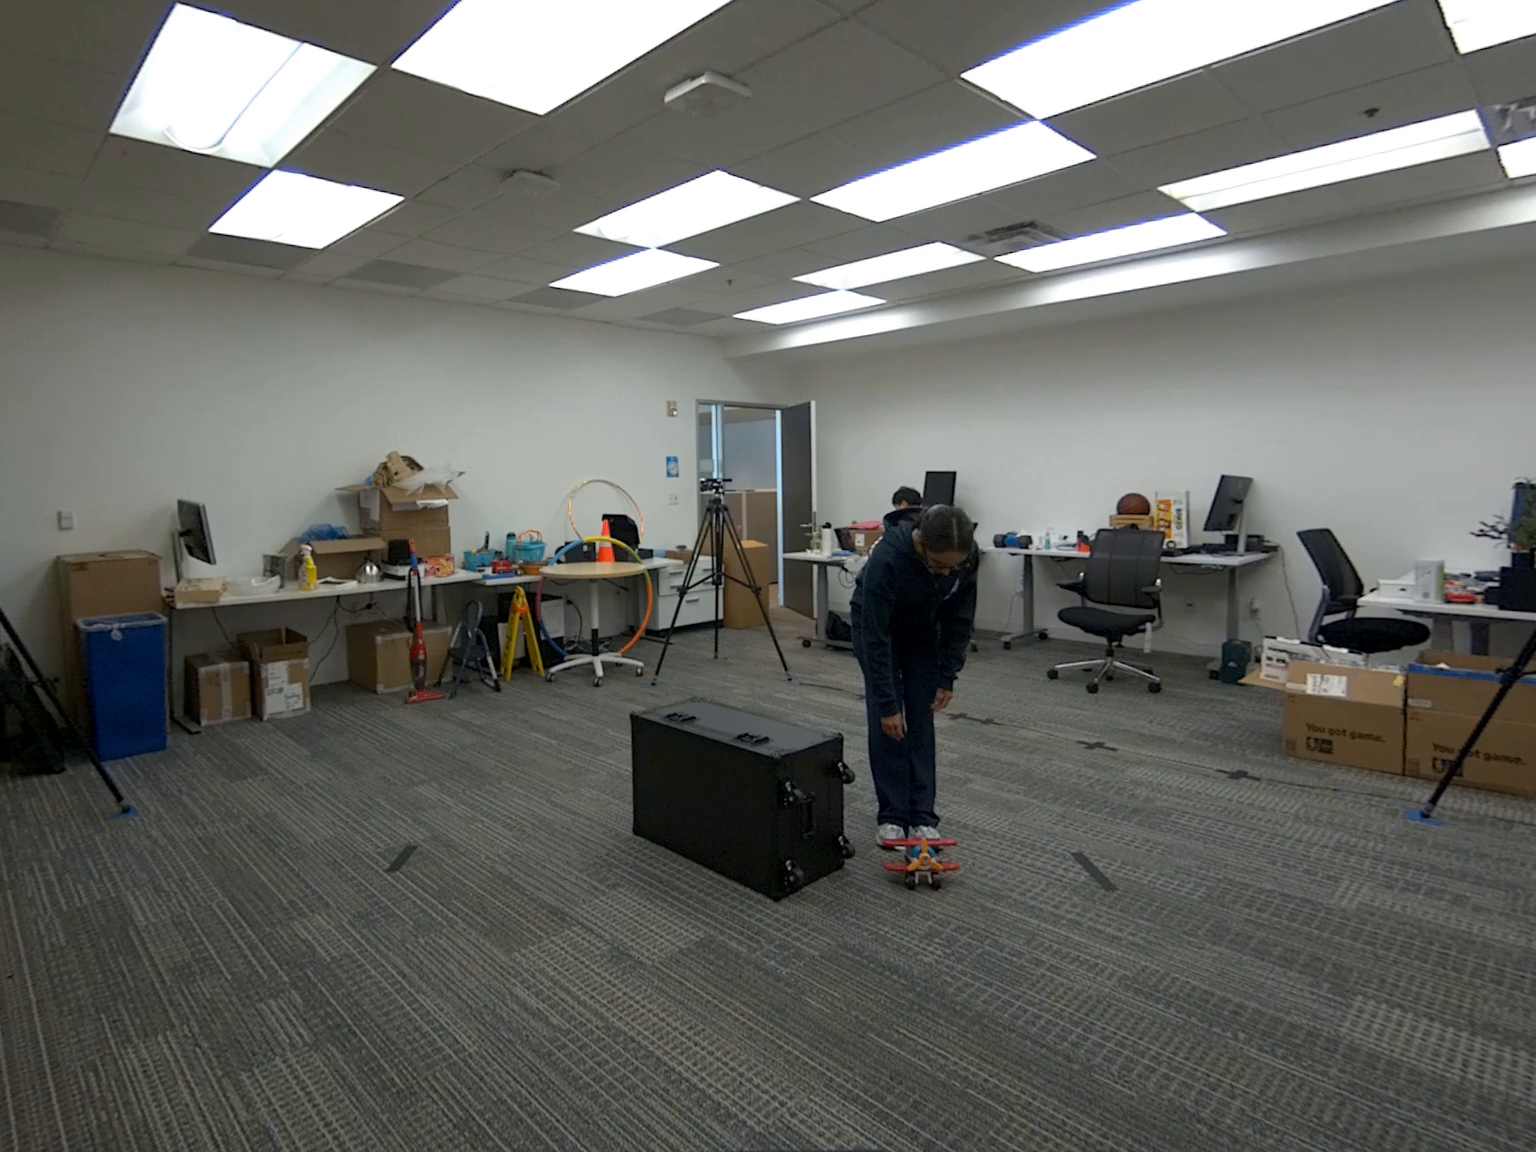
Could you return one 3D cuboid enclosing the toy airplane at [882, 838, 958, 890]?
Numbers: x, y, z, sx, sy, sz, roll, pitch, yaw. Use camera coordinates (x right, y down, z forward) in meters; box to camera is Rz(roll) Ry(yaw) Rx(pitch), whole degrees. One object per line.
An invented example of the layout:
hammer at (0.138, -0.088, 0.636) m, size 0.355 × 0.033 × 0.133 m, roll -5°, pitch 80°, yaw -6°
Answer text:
toy airplane at (0.503, 0.977, 2.958) m, size 0.246 × 0.156 × 0.266 m, roll -5°, pitch 6°, yaw -24°
